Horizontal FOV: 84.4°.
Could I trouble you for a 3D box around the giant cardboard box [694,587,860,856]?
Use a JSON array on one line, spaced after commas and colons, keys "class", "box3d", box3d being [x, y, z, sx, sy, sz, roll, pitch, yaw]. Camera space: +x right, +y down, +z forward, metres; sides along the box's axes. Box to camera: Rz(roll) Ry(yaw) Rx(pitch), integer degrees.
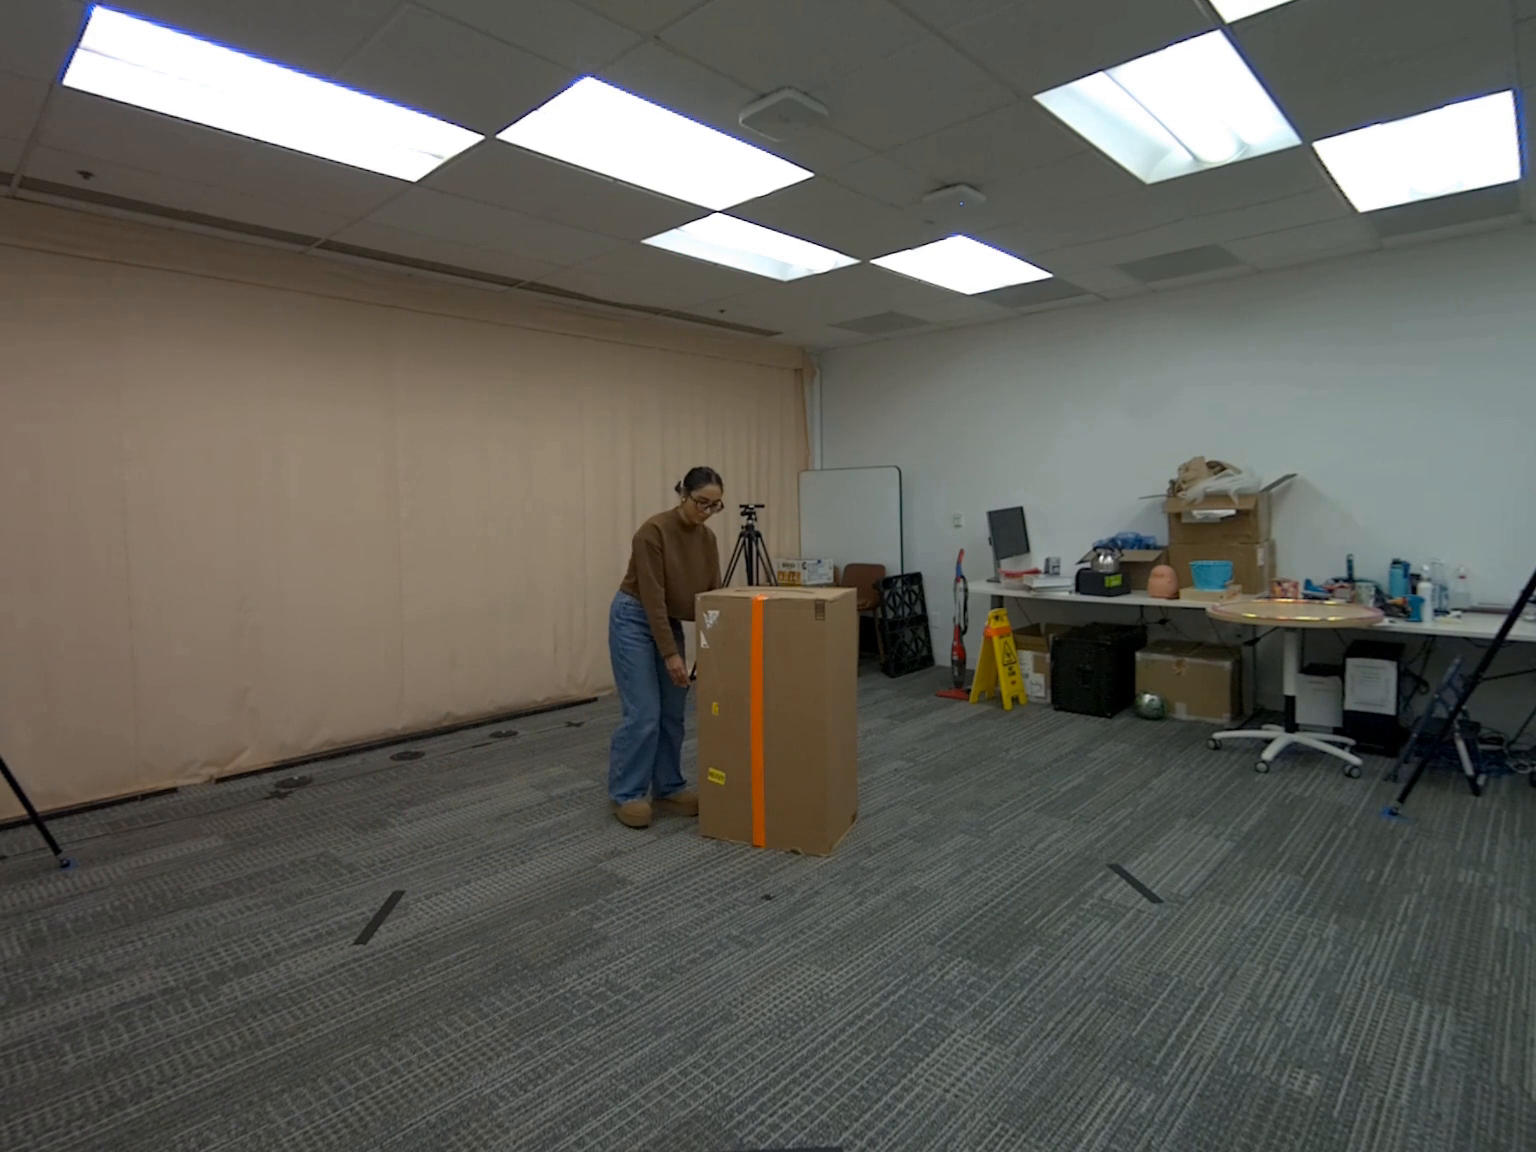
[{"class": "giant cardboard box", "box3d": [0.046, 0.577, 3.589, 0.592, 1.023, 0.416, 0, 4, 25]}]
